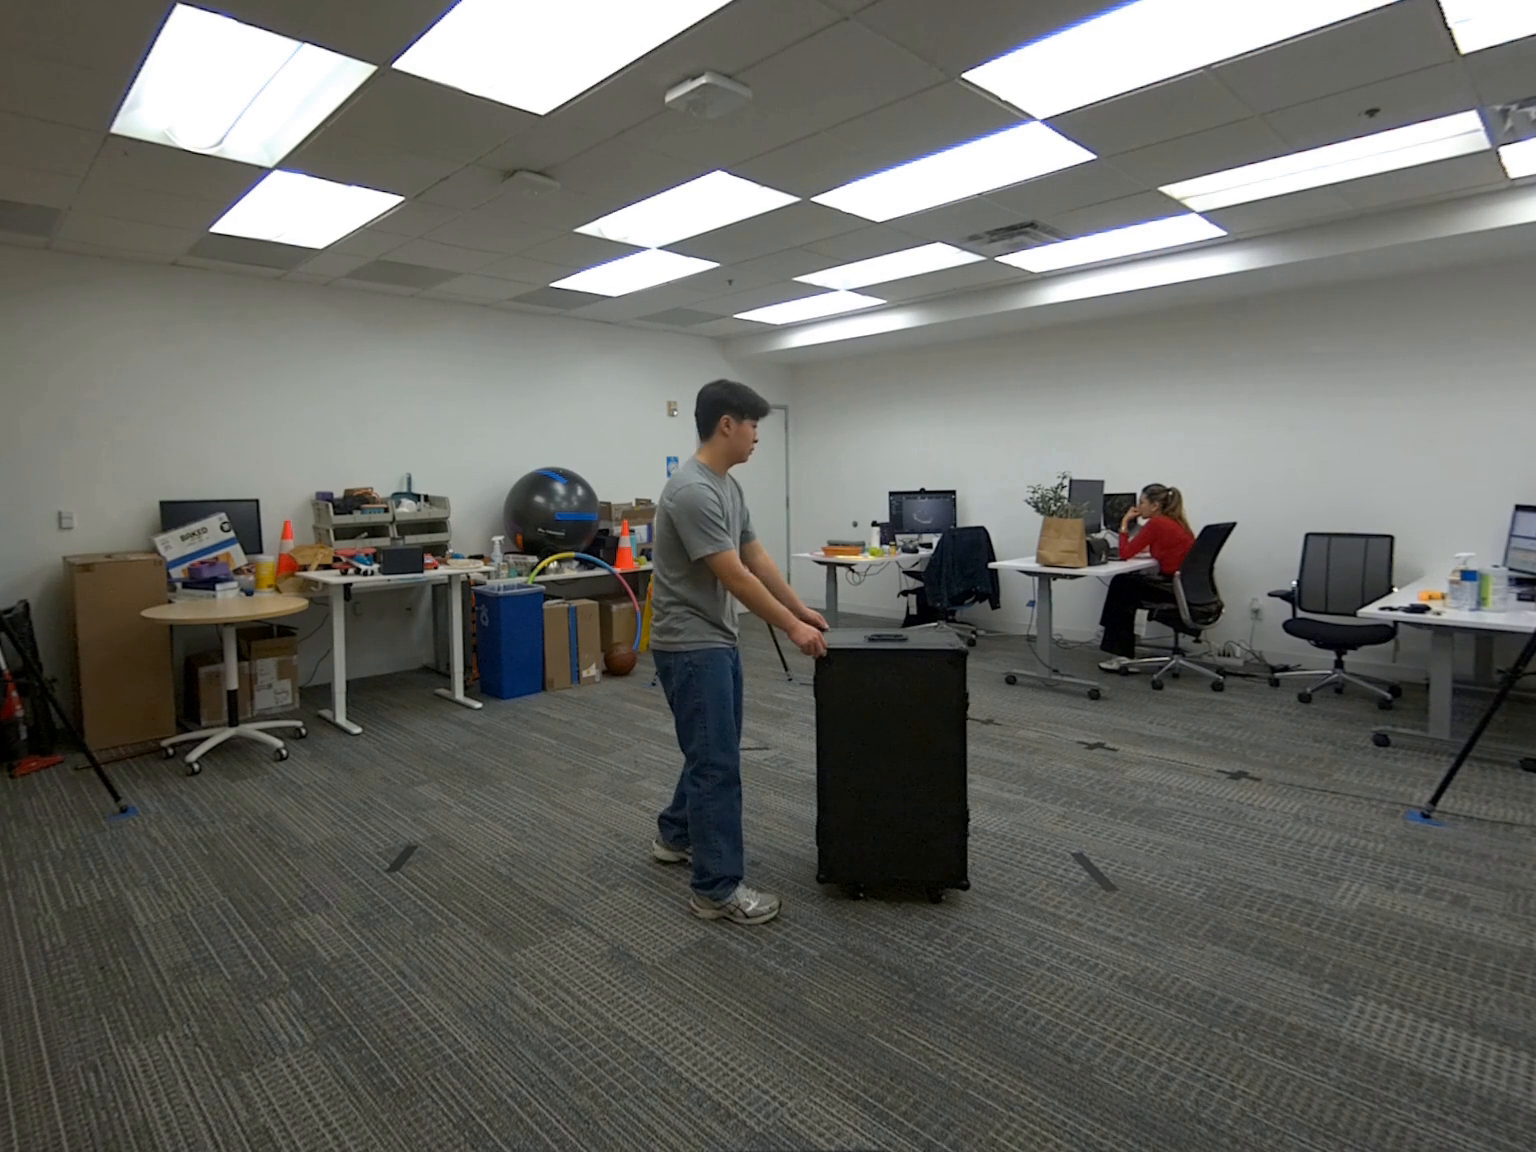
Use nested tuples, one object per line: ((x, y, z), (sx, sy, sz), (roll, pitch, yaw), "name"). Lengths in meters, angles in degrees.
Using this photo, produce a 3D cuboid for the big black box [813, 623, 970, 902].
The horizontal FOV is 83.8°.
((0.407, 0.634, 2.927), (0.526, 0.859, 0.394), (-2, 4, 8), "big black box")
